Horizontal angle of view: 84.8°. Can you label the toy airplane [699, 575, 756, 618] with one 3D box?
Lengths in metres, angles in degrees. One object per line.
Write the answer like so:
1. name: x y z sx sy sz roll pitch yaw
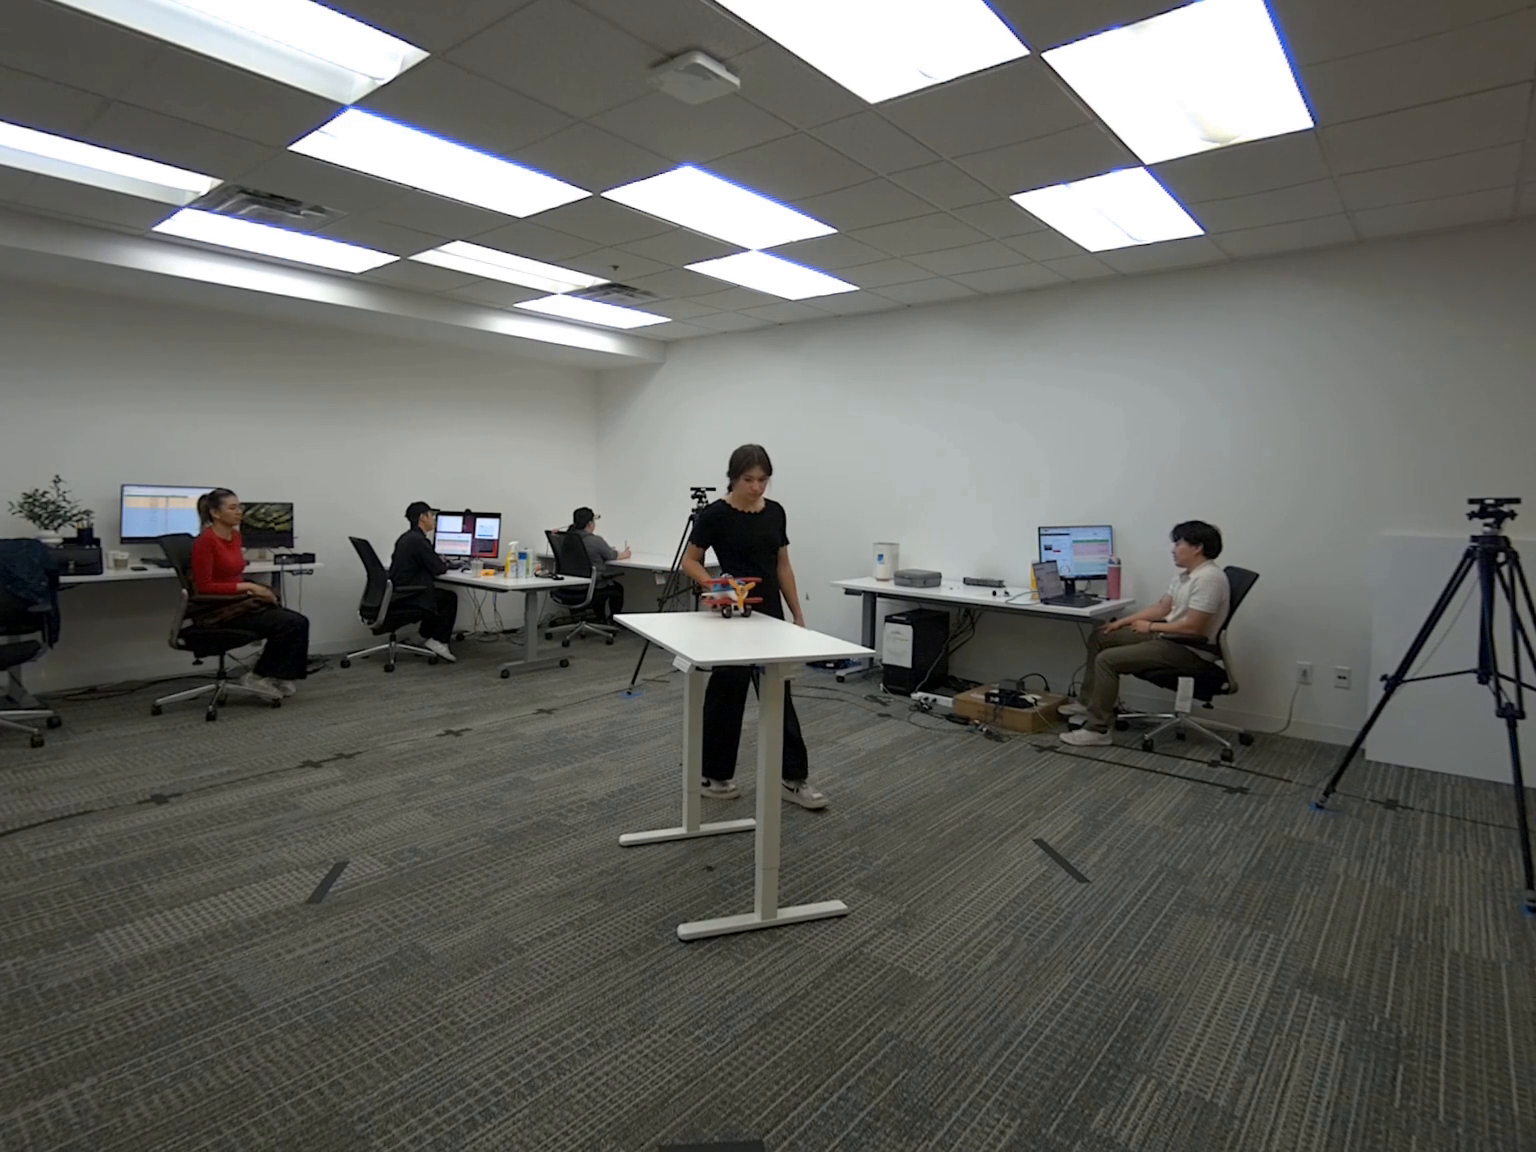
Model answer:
1. toy airplane: -0.186 0.069 3.432 0.268 0.155 0.244 11 11 36
